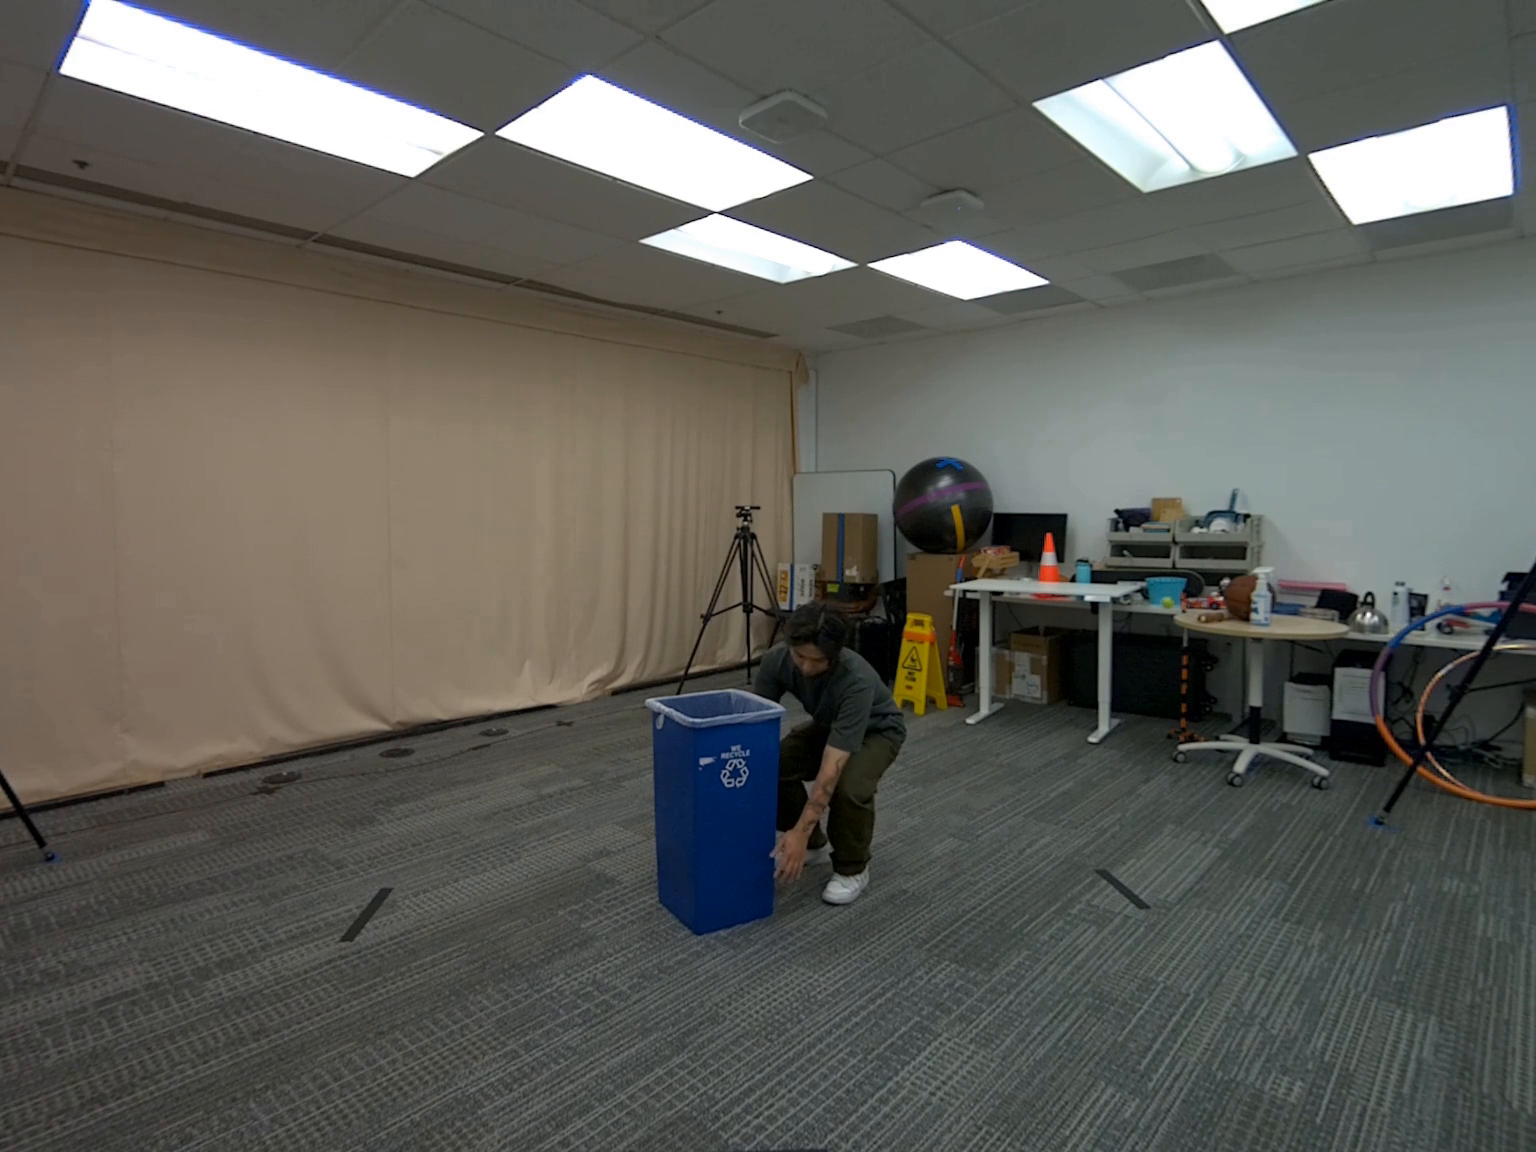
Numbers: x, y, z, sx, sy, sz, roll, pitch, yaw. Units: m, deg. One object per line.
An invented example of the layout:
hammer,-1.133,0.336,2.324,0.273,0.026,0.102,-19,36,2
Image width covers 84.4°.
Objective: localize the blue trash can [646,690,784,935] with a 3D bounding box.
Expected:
blue trash can,-0.174,0.793,2.907,0.367,0.712,0.385,-2,3,-32
